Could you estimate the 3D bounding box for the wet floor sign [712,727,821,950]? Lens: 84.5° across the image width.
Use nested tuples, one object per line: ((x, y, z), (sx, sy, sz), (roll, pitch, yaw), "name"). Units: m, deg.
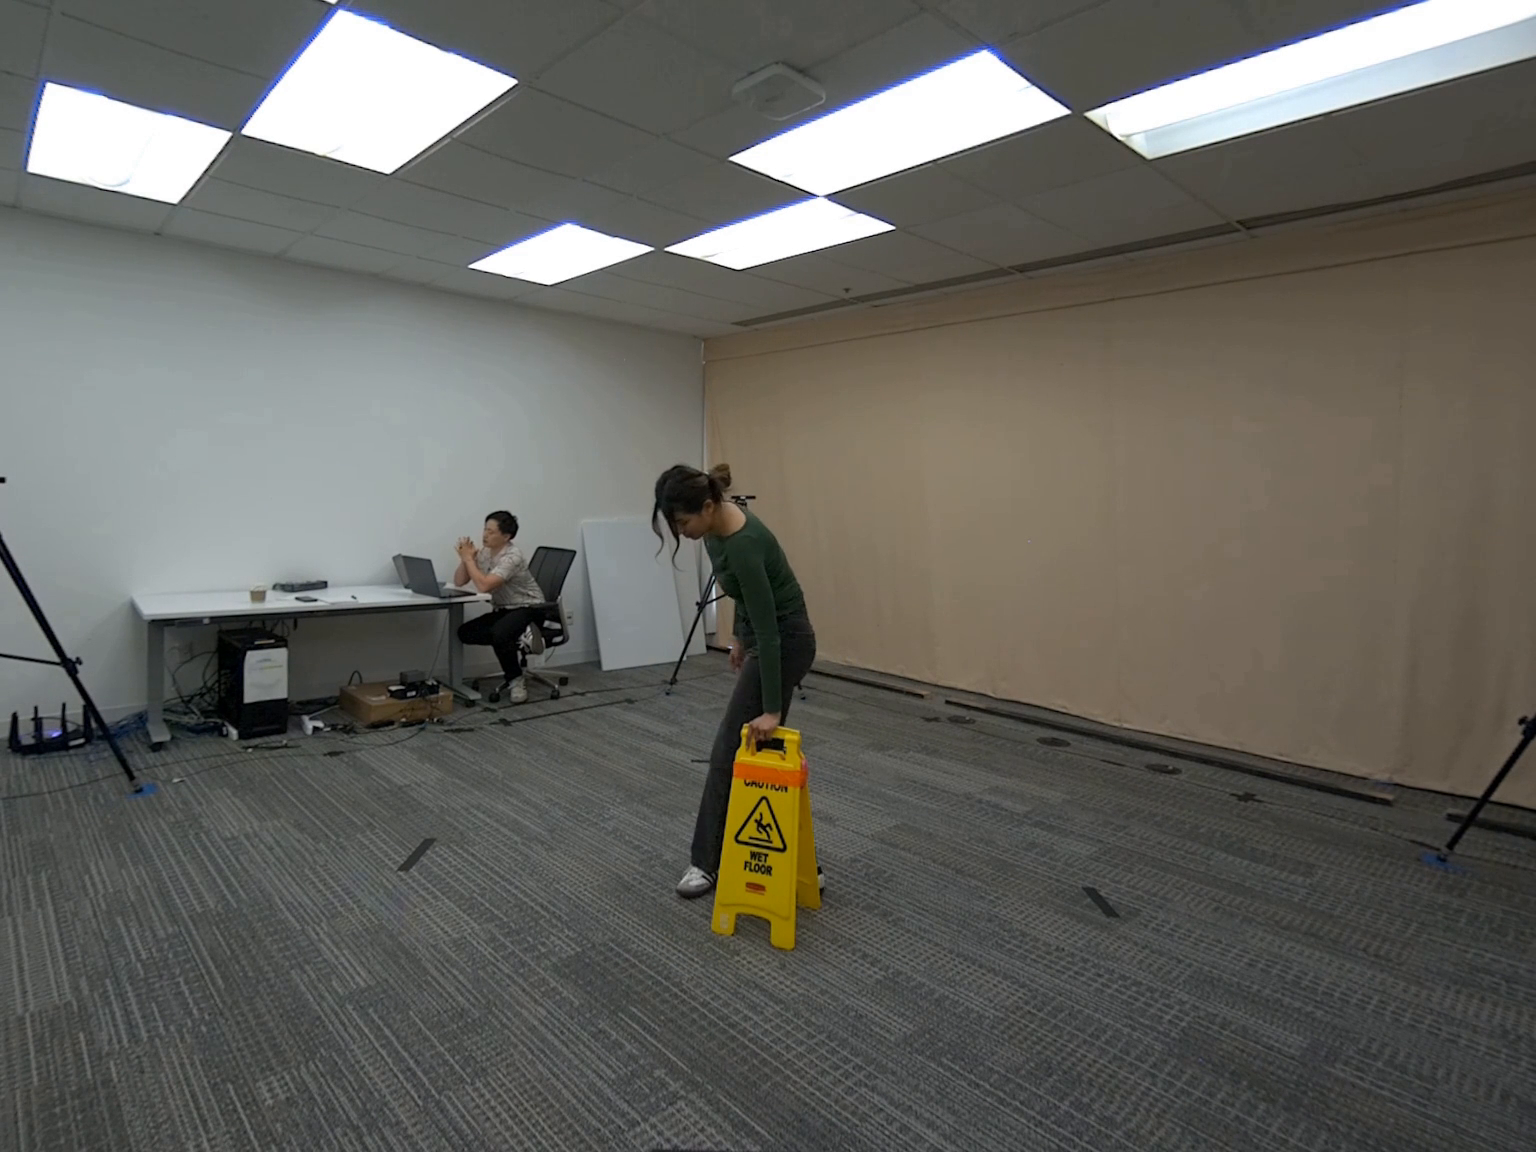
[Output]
((0.000, 0.813, 2.760), (0.287, 0.644, 0.285), (3, 4, 21), "wet floor sign")
